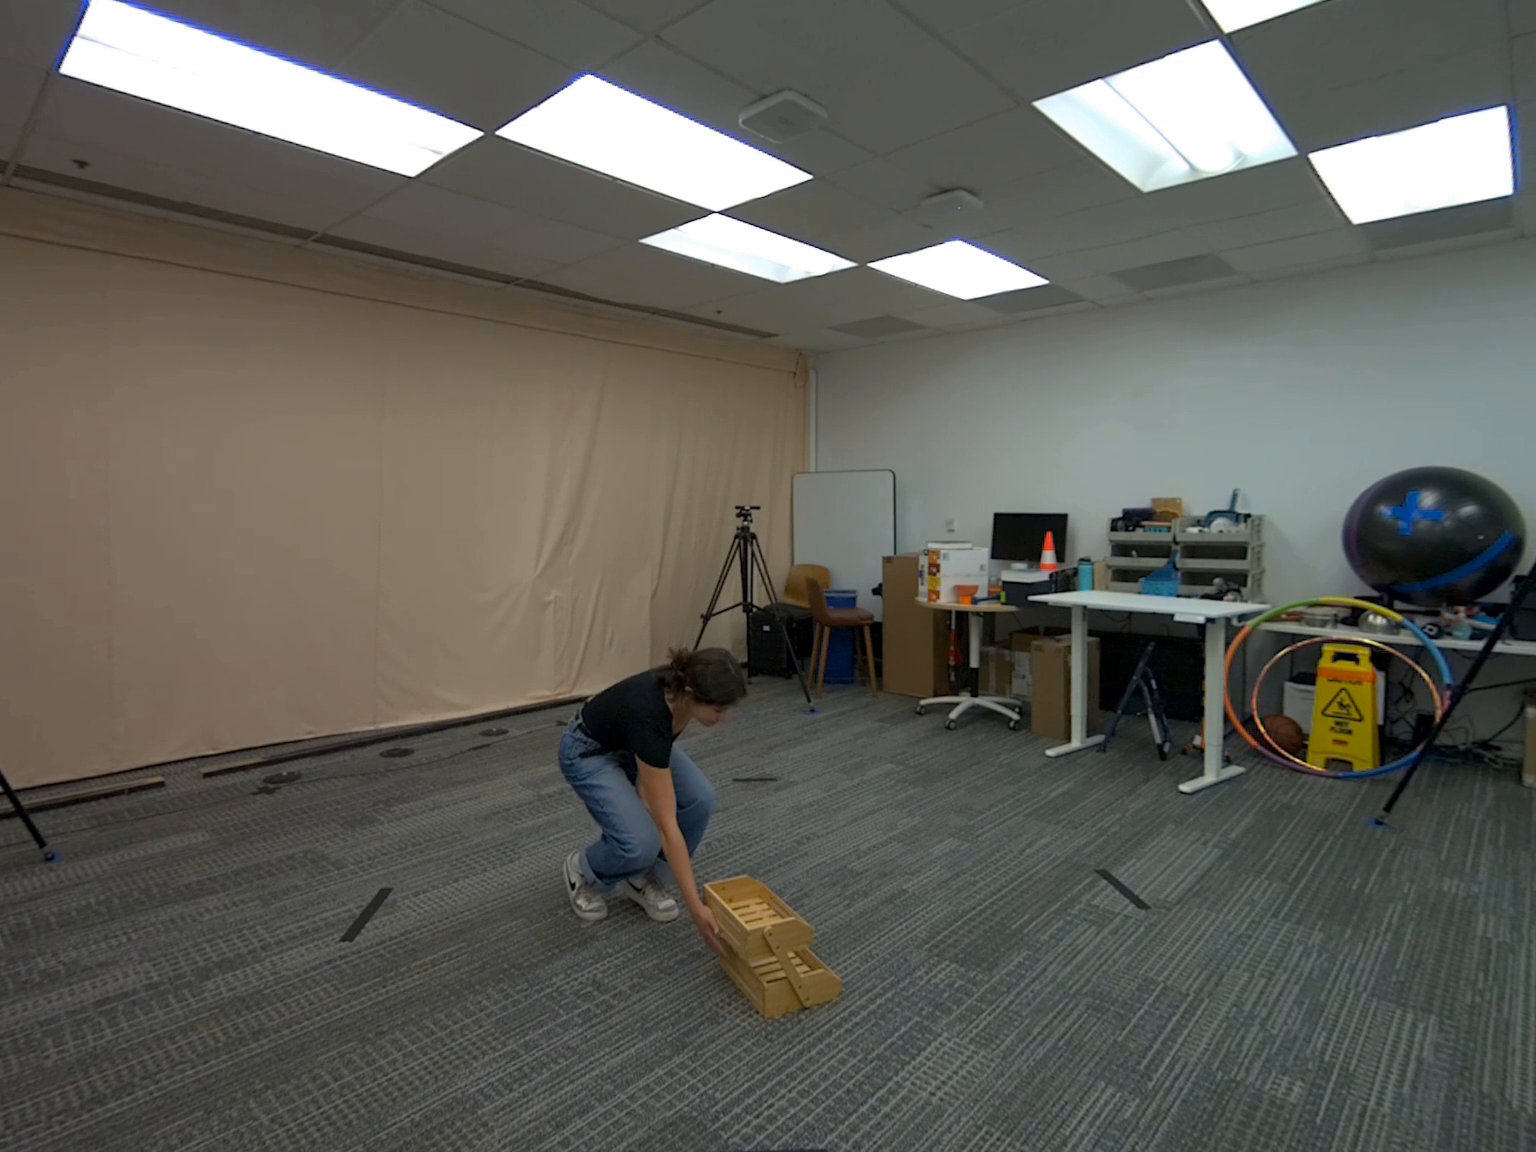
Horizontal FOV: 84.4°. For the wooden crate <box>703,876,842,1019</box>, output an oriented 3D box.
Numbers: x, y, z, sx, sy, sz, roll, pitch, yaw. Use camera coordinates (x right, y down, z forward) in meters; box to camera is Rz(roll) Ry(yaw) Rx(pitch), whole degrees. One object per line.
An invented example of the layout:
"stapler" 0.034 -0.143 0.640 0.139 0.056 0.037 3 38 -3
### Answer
"wooden crate" 0.018 1.058 2.447 0.294 0.273 0.333 -1 4 -27
